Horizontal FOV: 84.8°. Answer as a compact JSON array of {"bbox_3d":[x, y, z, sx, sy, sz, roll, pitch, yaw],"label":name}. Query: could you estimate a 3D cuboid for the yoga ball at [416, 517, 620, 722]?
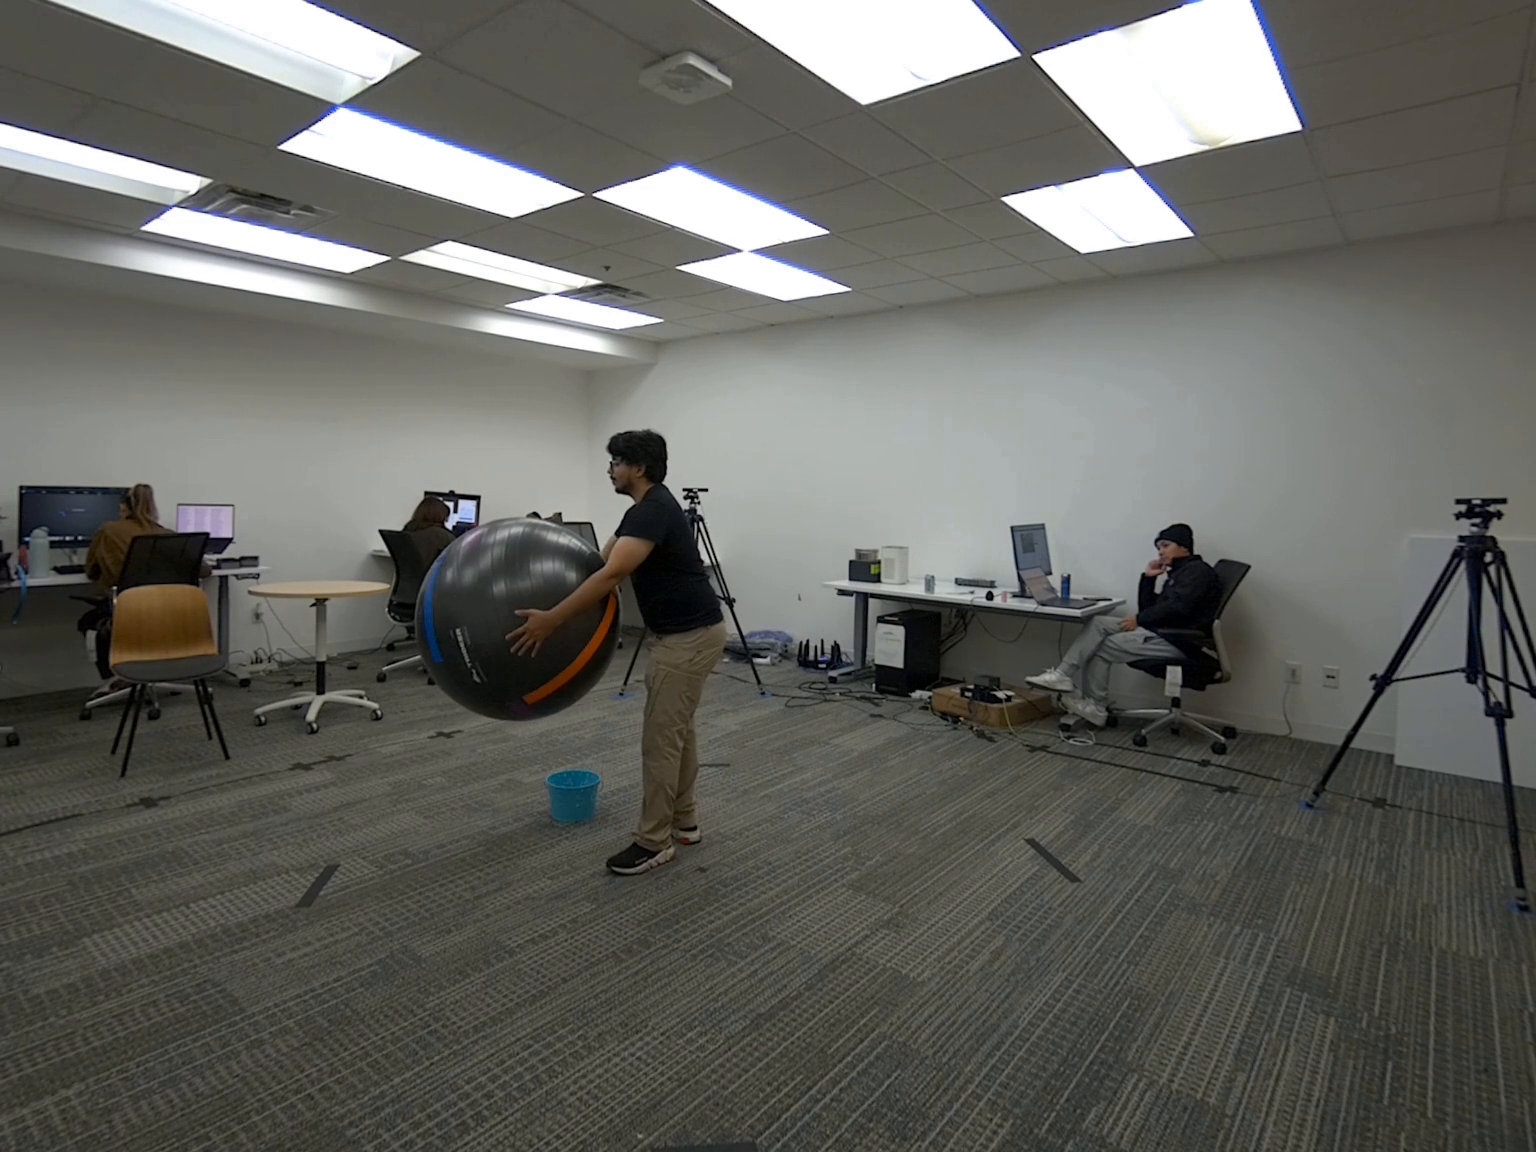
[{"bbox_3d":[-0.949,0.161,3.210,0.757,0.755,0.762,1,4,-2],"label":"yoga ball"}]
